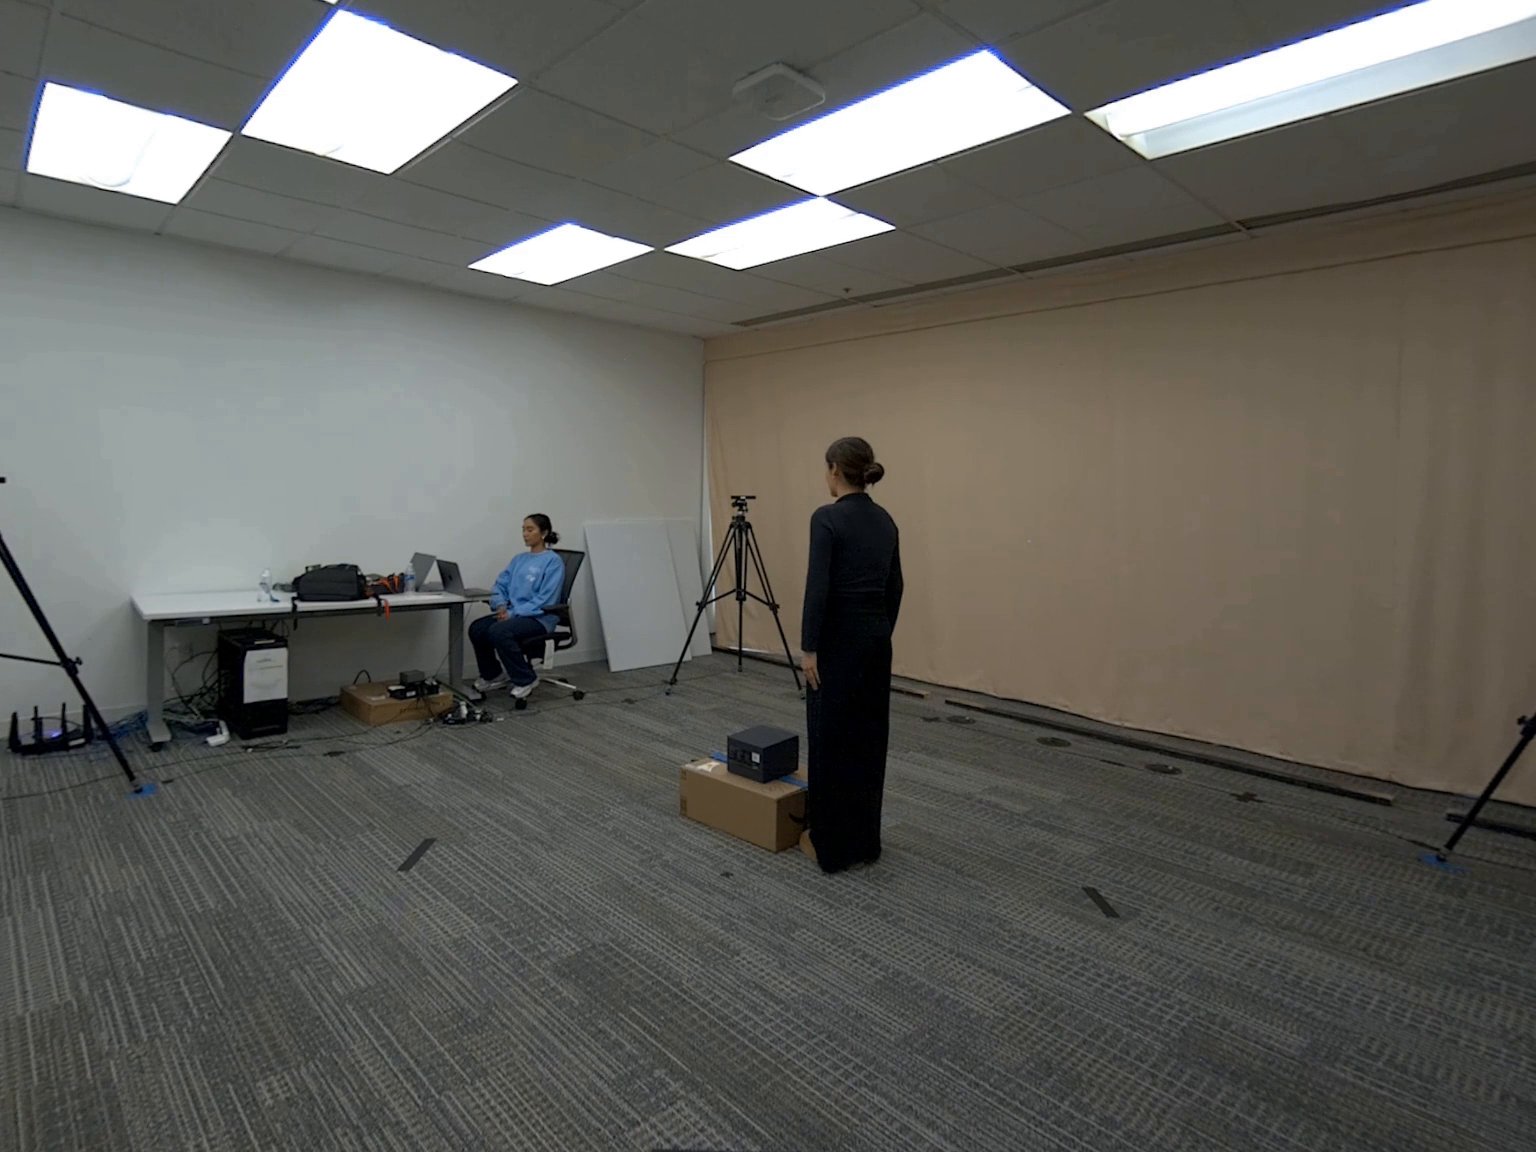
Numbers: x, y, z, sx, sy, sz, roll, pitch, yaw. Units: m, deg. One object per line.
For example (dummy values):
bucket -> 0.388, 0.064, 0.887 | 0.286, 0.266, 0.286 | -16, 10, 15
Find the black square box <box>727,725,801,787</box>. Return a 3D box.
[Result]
black square box -> -0.020, 0.760, 3.607 | 0.222, 0.155, 0.223 | 6, 9, 42
